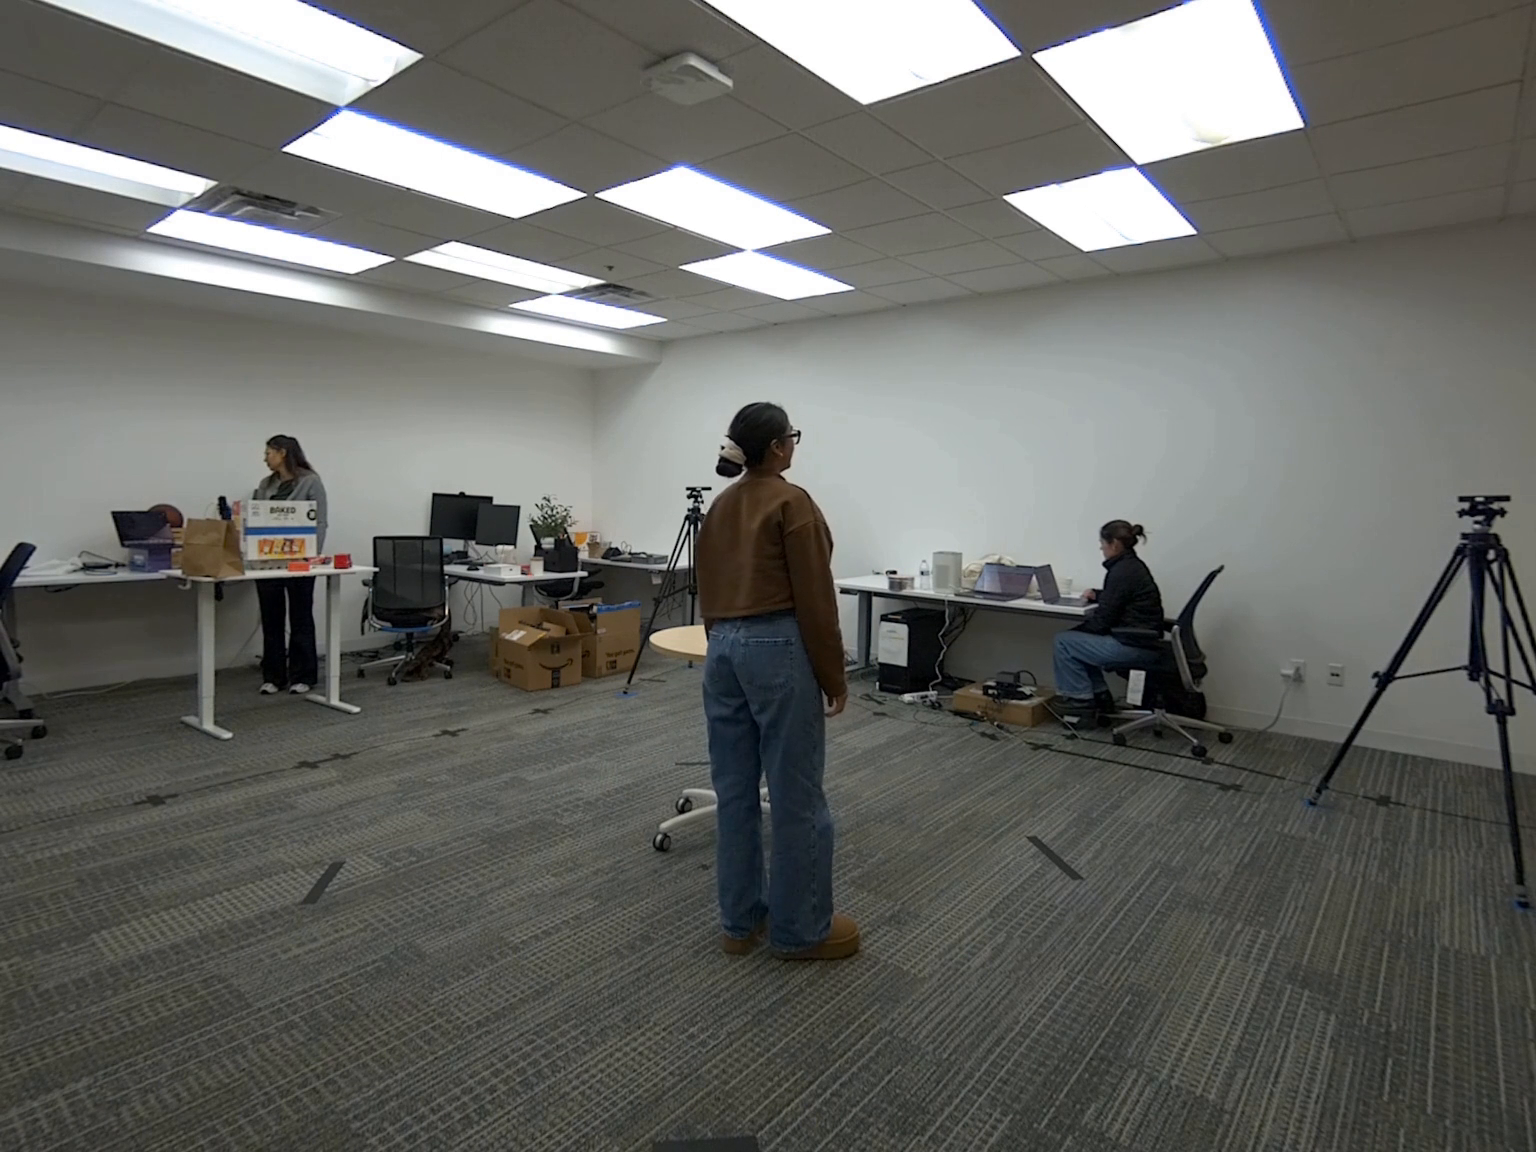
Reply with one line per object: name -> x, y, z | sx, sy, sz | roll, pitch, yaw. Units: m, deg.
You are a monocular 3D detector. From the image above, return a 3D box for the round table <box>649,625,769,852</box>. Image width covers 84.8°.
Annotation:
round table -> -0.107, 0.646, 3.398 | 0.763, 0.791, 0.768 | 1, 4, -2
